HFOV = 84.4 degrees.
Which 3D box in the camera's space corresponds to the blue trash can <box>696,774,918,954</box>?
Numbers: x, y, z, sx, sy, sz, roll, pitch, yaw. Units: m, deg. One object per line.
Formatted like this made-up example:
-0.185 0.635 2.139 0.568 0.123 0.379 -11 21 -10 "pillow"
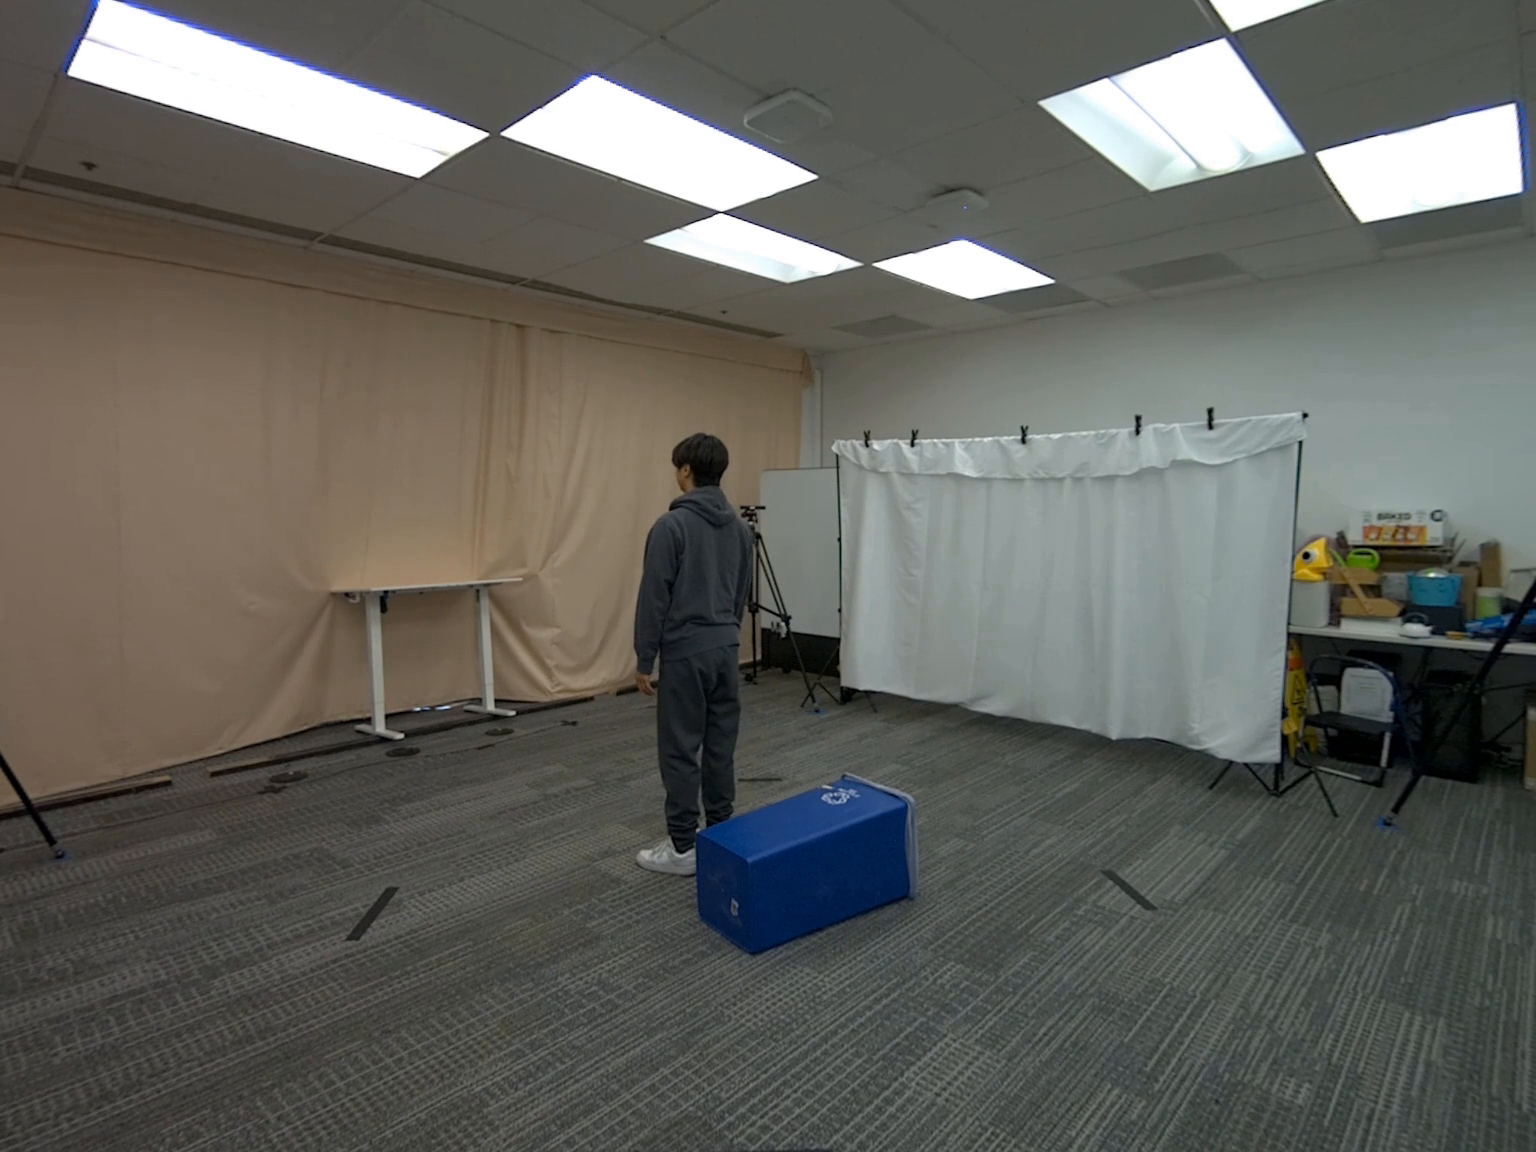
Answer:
0.144 0.983 2.902 0.693 0.377 0.386 -7 7 -37 "blue trash can"
